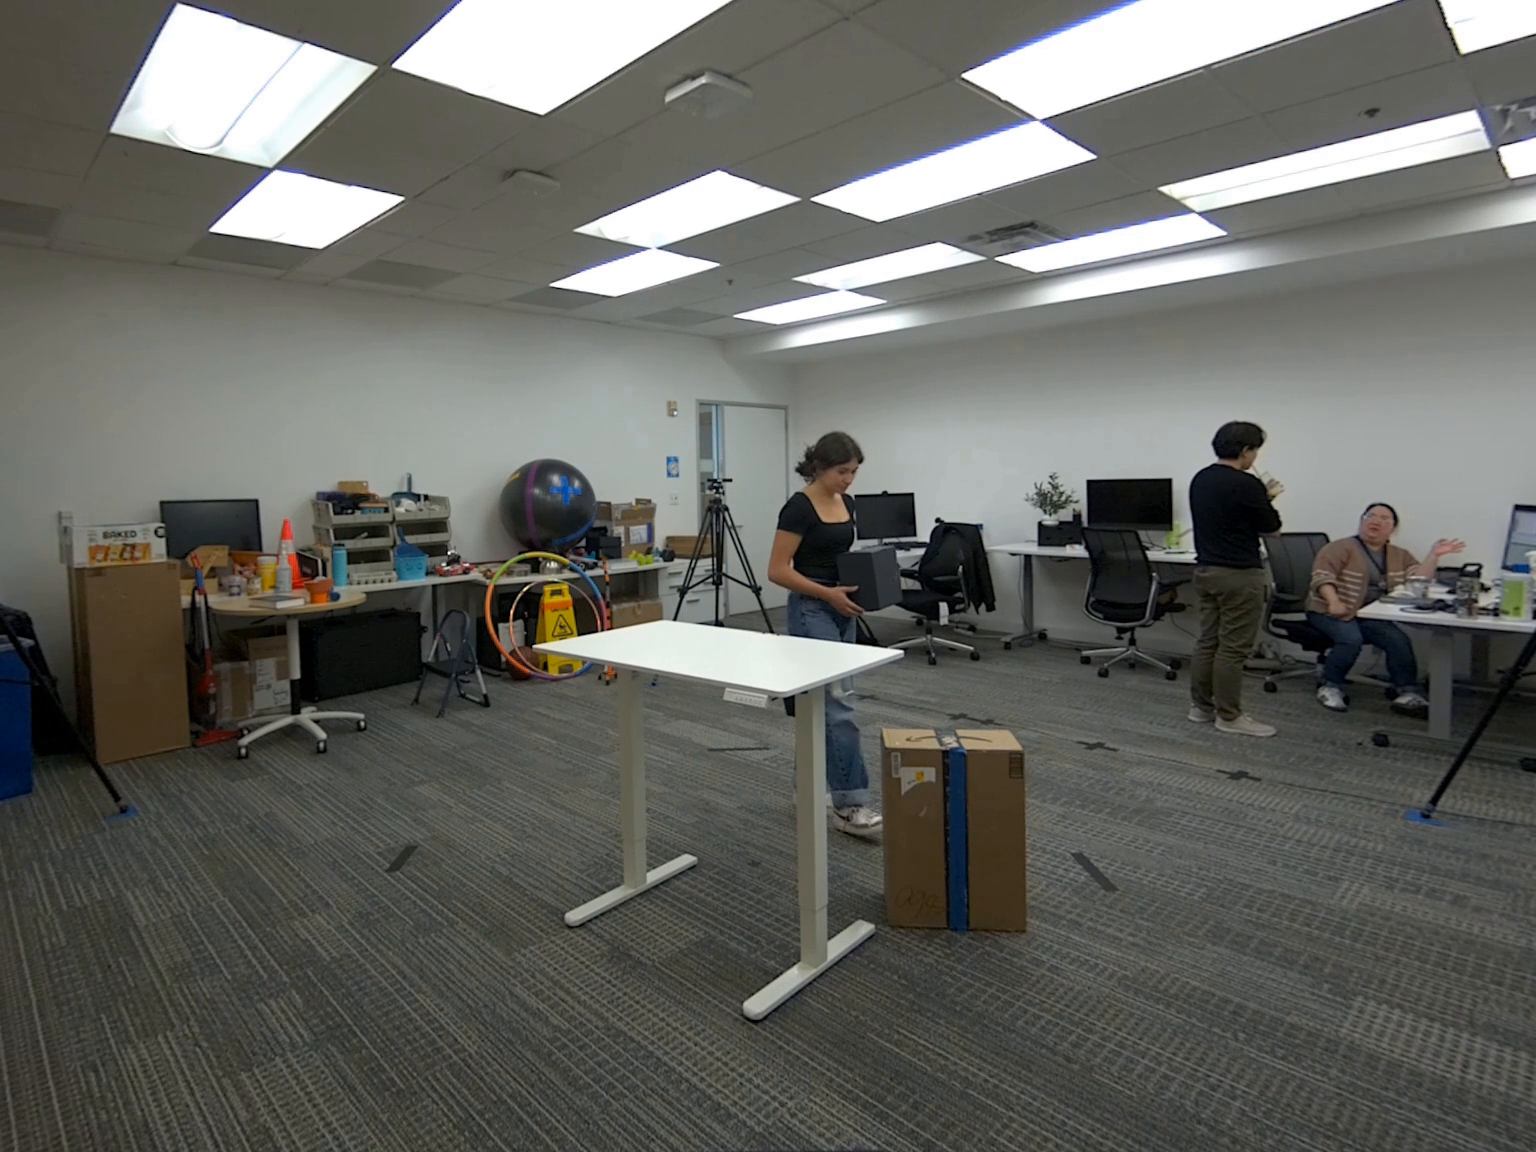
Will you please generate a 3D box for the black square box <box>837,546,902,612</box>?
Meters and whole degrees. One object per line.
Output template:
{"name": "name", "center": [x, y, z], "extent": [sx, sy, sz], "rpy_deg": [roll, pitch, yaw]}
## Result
{"name": "black square box", "center": [0.394, 0.008, 3.365], "extent": [0.160, 0.227, 0.212], "rpy_deg": [-5, 5, 35]}
